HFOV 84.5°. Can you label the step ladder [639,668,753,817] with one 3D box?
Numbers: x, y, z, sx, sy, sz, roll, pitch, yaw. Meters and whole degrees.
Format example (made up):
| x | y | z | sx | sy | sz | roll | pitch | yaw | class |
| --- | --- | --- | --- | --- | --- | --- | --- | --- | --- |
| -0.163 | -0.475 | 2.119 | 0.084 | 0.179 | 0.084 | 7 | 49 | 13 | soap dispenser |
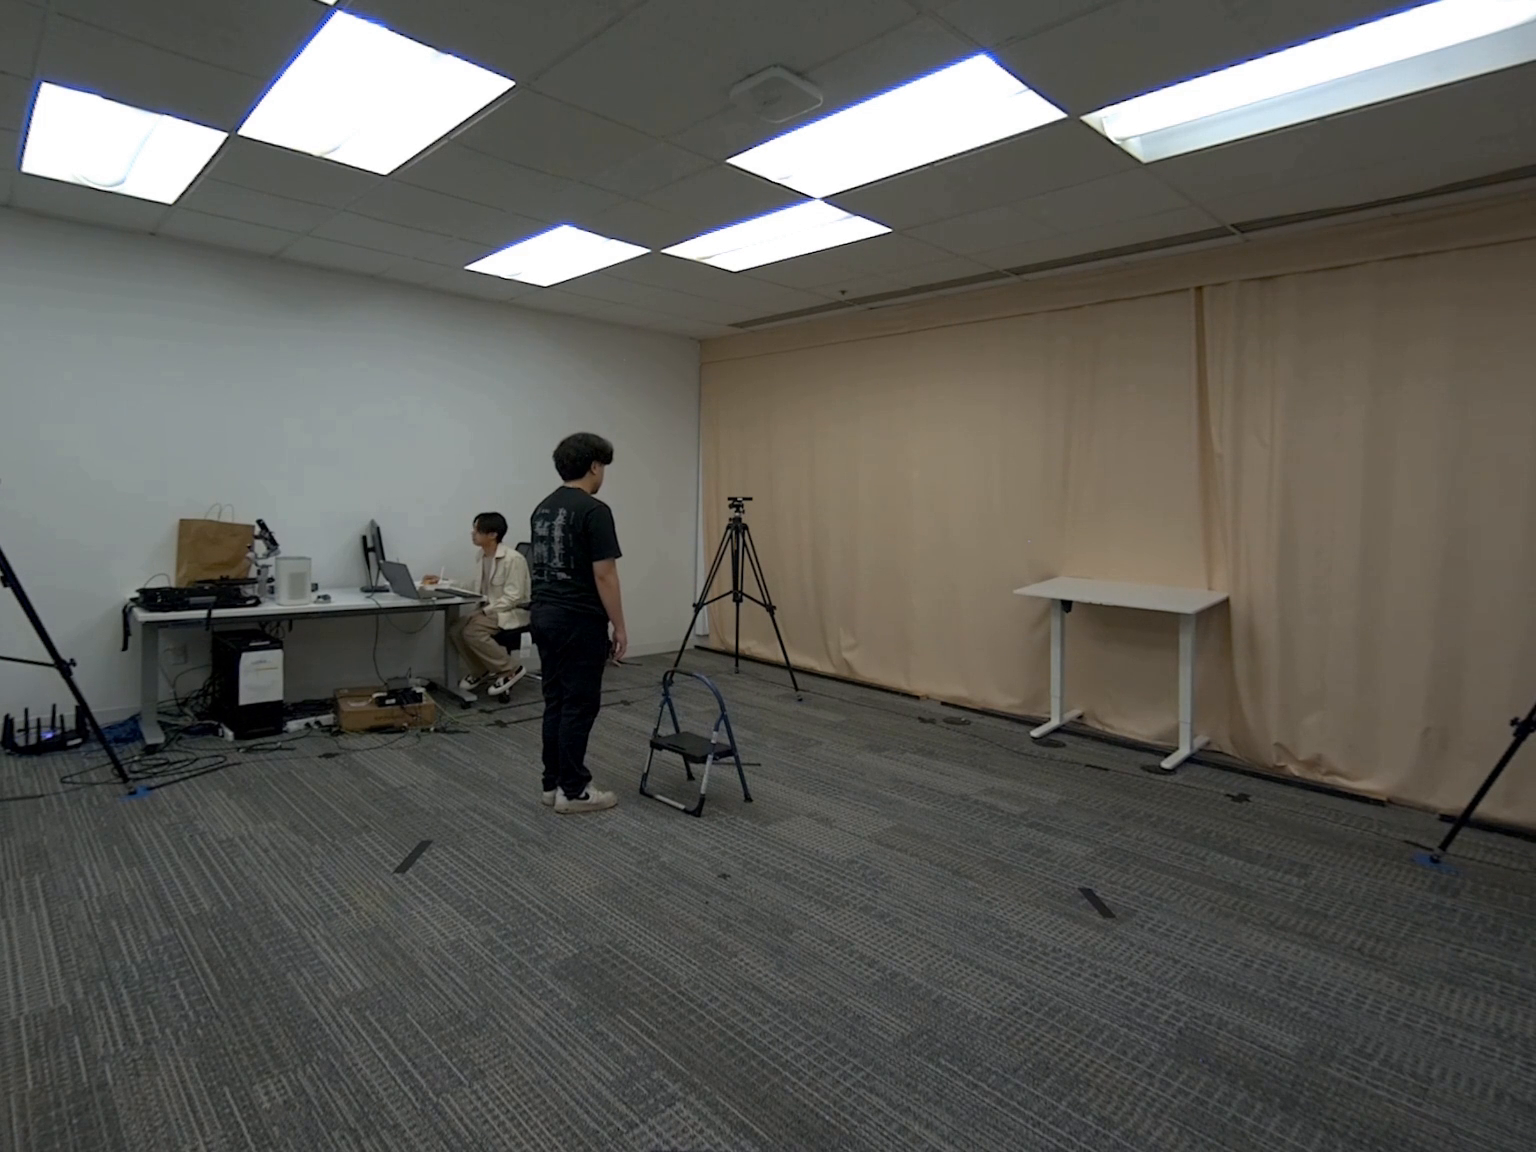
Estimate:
| x | y | z | sx | sy | sz | roll | pitch | yaw | class |
| --- | --- | --- | --- | --- | --- | --- | --- | --- | --- |
| -0.341 | 0.732 | 3.923 | 0.441 | 0.605 | 0.341 | 4 | 3 | 43 | step ladder |
